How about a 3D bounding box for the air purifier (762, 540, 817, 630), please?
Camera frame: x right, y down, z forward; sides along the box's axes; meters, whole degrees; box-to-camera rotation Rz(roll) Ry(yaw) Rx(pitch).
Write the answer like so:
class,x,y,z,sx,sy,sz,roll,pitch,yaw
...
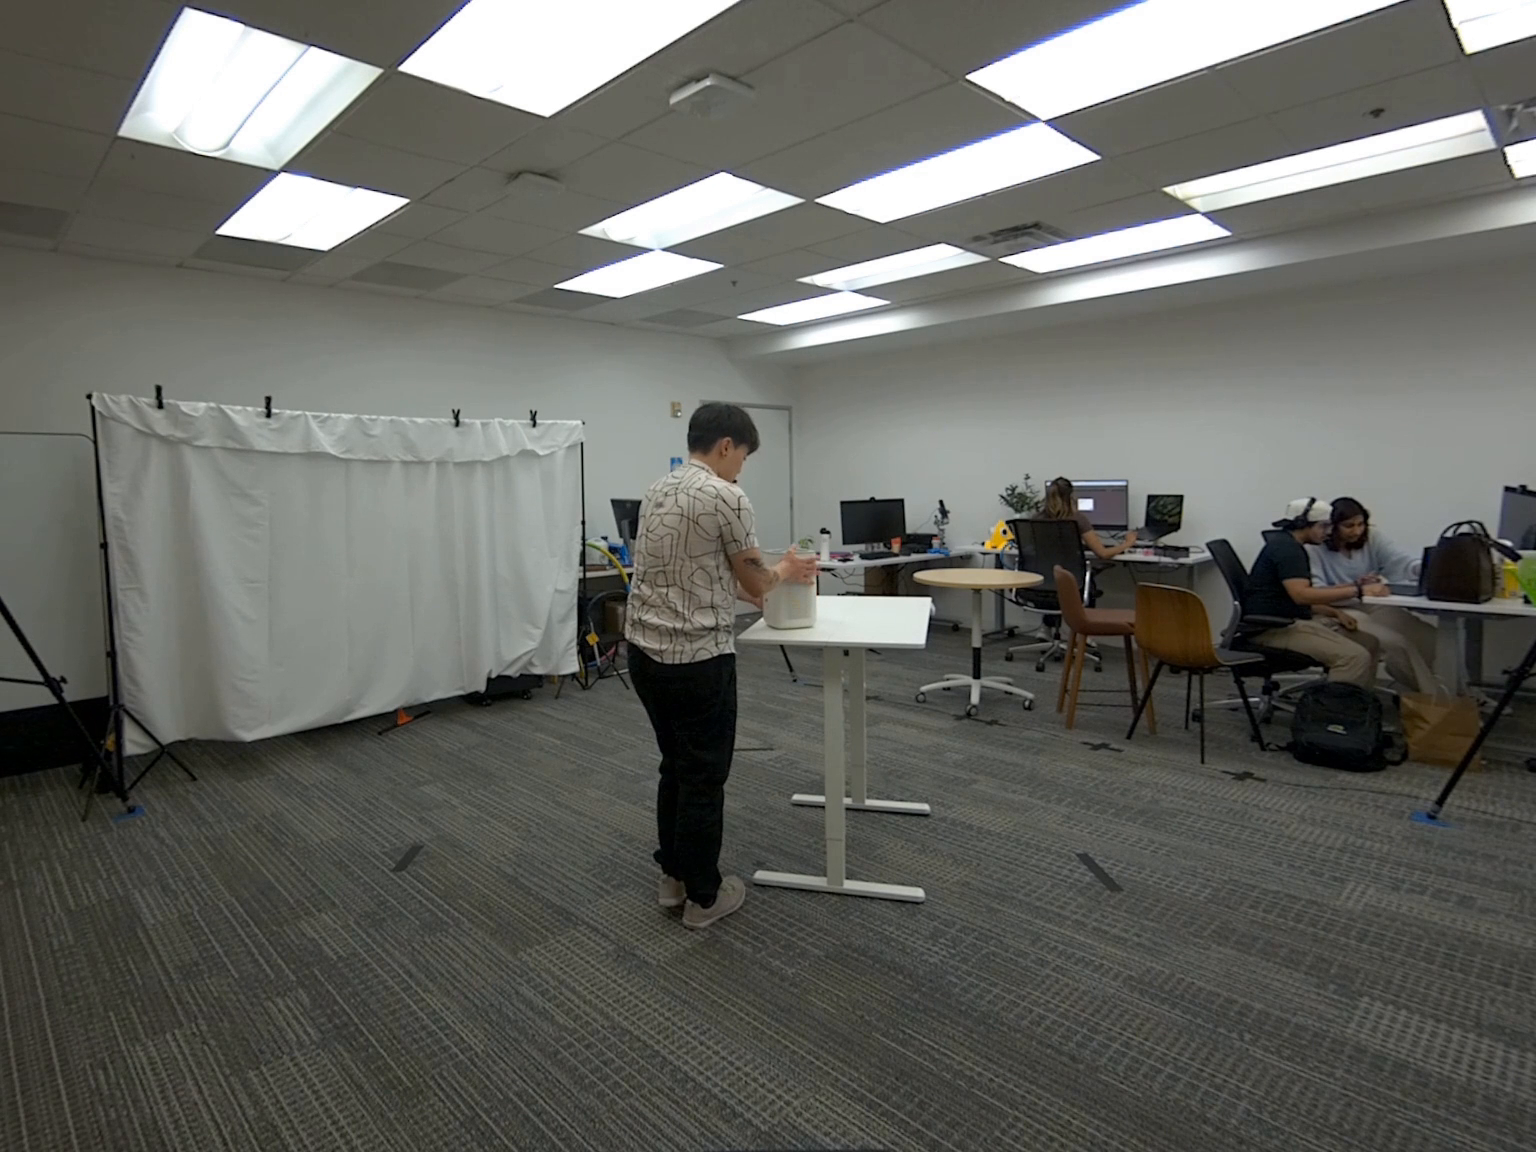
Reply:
class,x,y,z,sx,sy,sz,roll,pitch,yaw
air purifier,0.088,0.048,2.997,0.169,0.264,0.174,2,5,-15
